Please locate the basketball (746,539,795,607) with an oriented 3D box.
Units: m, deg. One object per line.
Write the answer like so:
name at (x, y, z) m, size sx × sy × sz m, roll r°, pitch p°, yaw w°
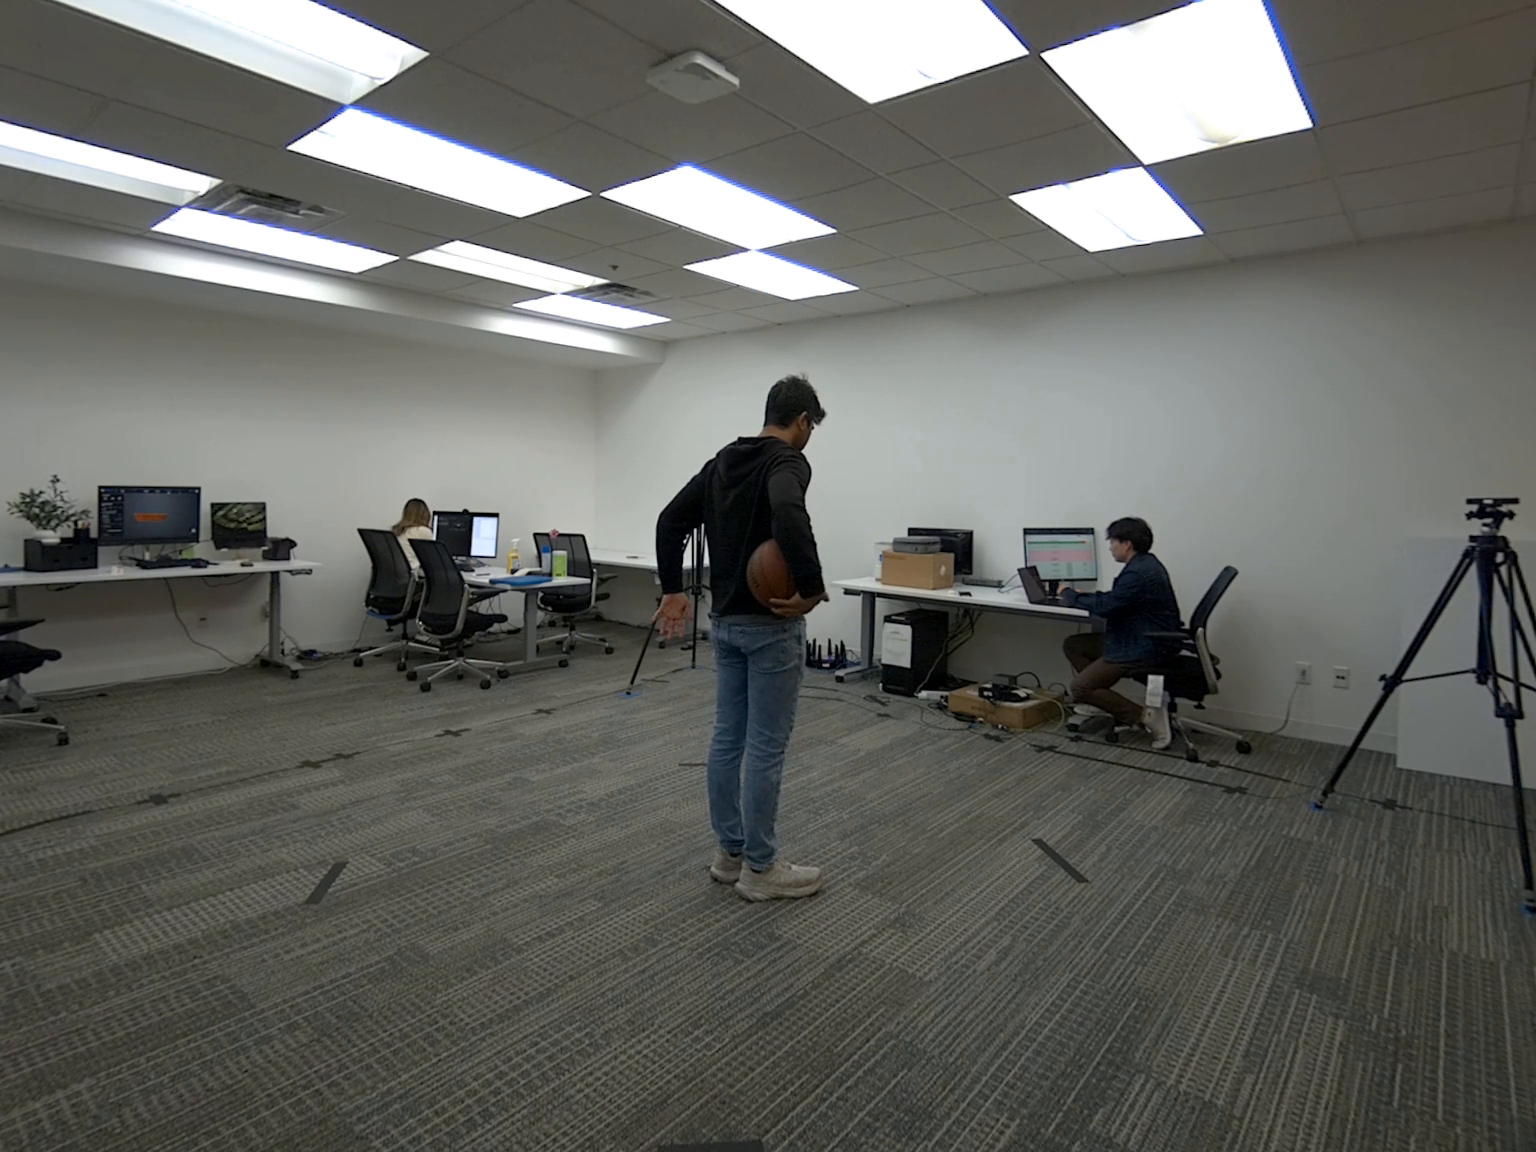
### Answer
basketball at (0.048, -0.018, 2.723) m, size 0.235 × 0.235 × 0.237 m, roll 1°, pitch 4°, yaw -2°
